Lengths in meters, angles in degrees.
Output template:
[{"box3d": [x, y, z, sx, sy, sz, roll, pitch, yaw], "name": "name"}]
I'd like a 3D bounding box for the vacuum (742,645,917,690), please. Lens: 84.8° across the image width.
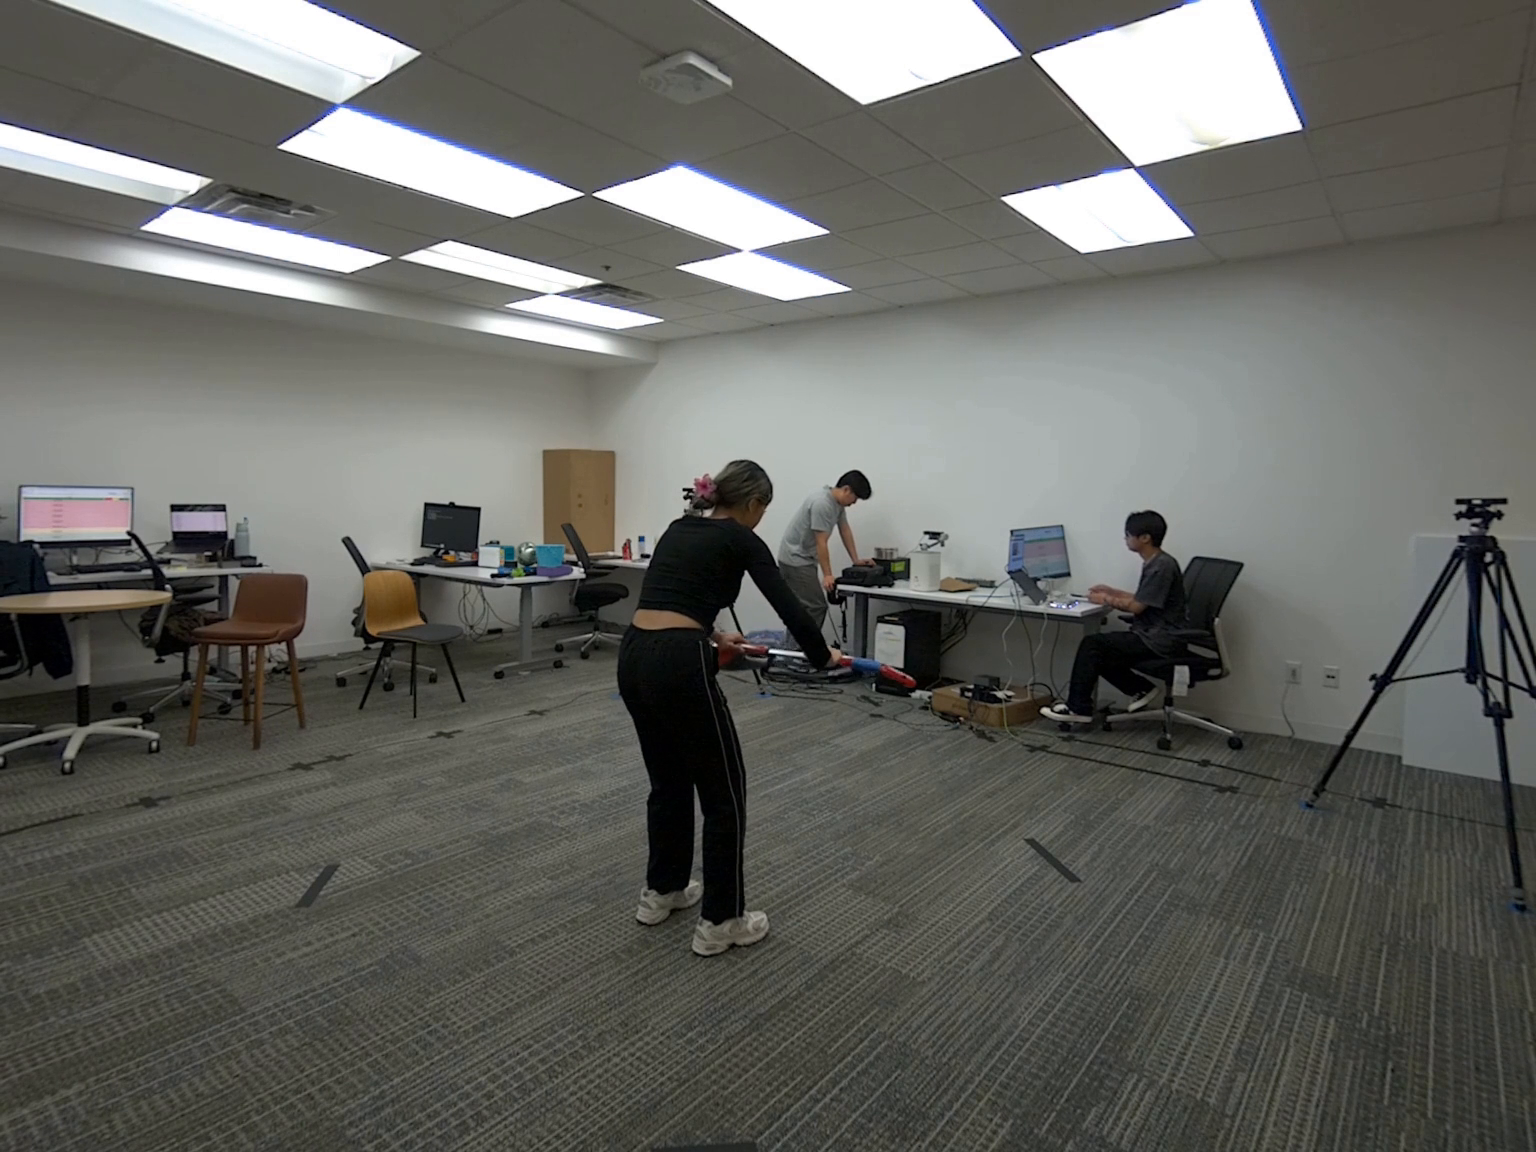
[{"box3d": [0.007, 0.295, 2.934, 1.084, 0.139, 0.252, 4, 41, 41], "name": "vacuum"}]
